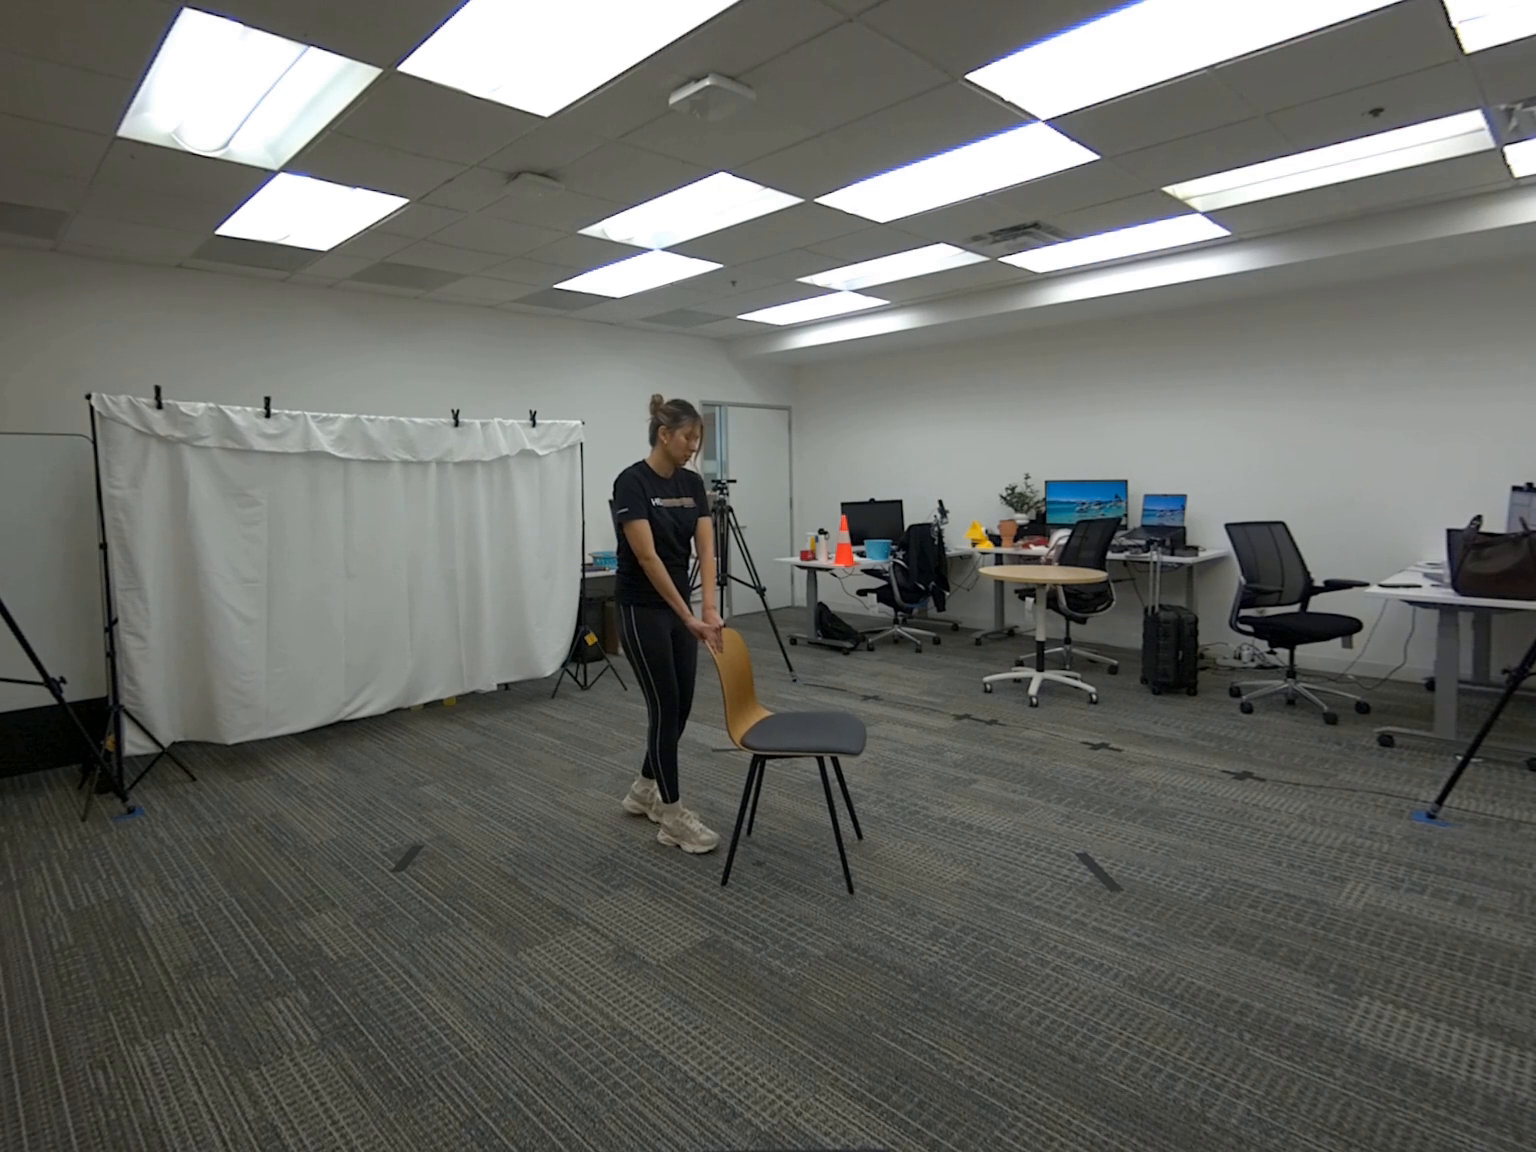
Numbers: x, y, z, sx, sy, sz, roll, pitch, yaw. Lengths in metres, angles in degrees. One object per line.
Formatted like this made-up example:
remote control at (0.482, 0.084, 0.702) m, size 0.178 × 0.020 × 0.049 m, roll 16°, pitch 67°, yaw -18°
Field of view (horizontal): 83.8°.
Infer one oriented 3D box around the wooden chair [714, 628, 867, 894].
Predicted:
wooden chair at (0.089, 0.612, 3.078) m, size 0.529 × 0.875 × 0.474 m, roll -6°, pitch 3°, yaw 12°
